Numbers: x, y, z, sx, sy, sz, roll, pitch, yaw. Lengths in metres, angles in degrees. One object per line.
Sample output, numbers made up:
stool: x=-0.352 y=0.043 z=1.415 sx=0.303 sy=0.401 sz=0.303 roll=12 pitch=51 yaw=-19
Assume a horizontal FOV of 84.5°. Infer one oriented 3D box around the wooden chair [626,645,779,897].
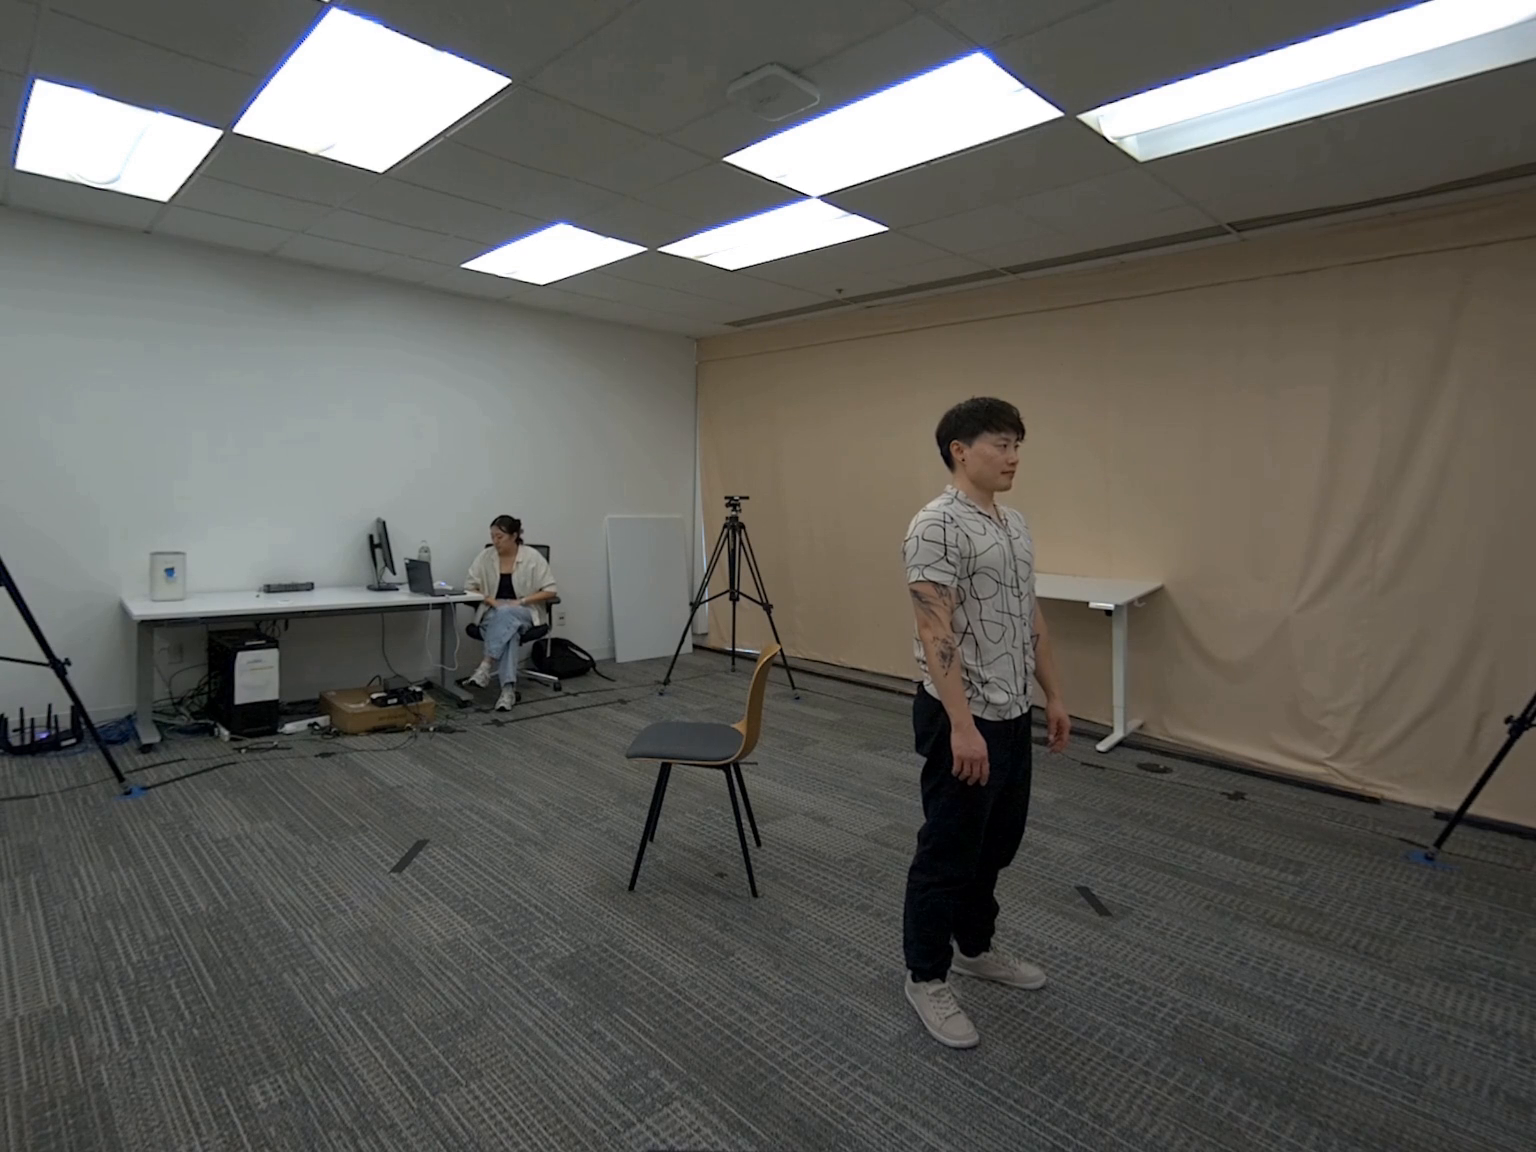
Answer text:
wooden chair: x=-0.260 y=0.673 z=3.130 sx=0.524 sy=0.875 sz=0.478 roll=5 pitch=4 yaw=1
